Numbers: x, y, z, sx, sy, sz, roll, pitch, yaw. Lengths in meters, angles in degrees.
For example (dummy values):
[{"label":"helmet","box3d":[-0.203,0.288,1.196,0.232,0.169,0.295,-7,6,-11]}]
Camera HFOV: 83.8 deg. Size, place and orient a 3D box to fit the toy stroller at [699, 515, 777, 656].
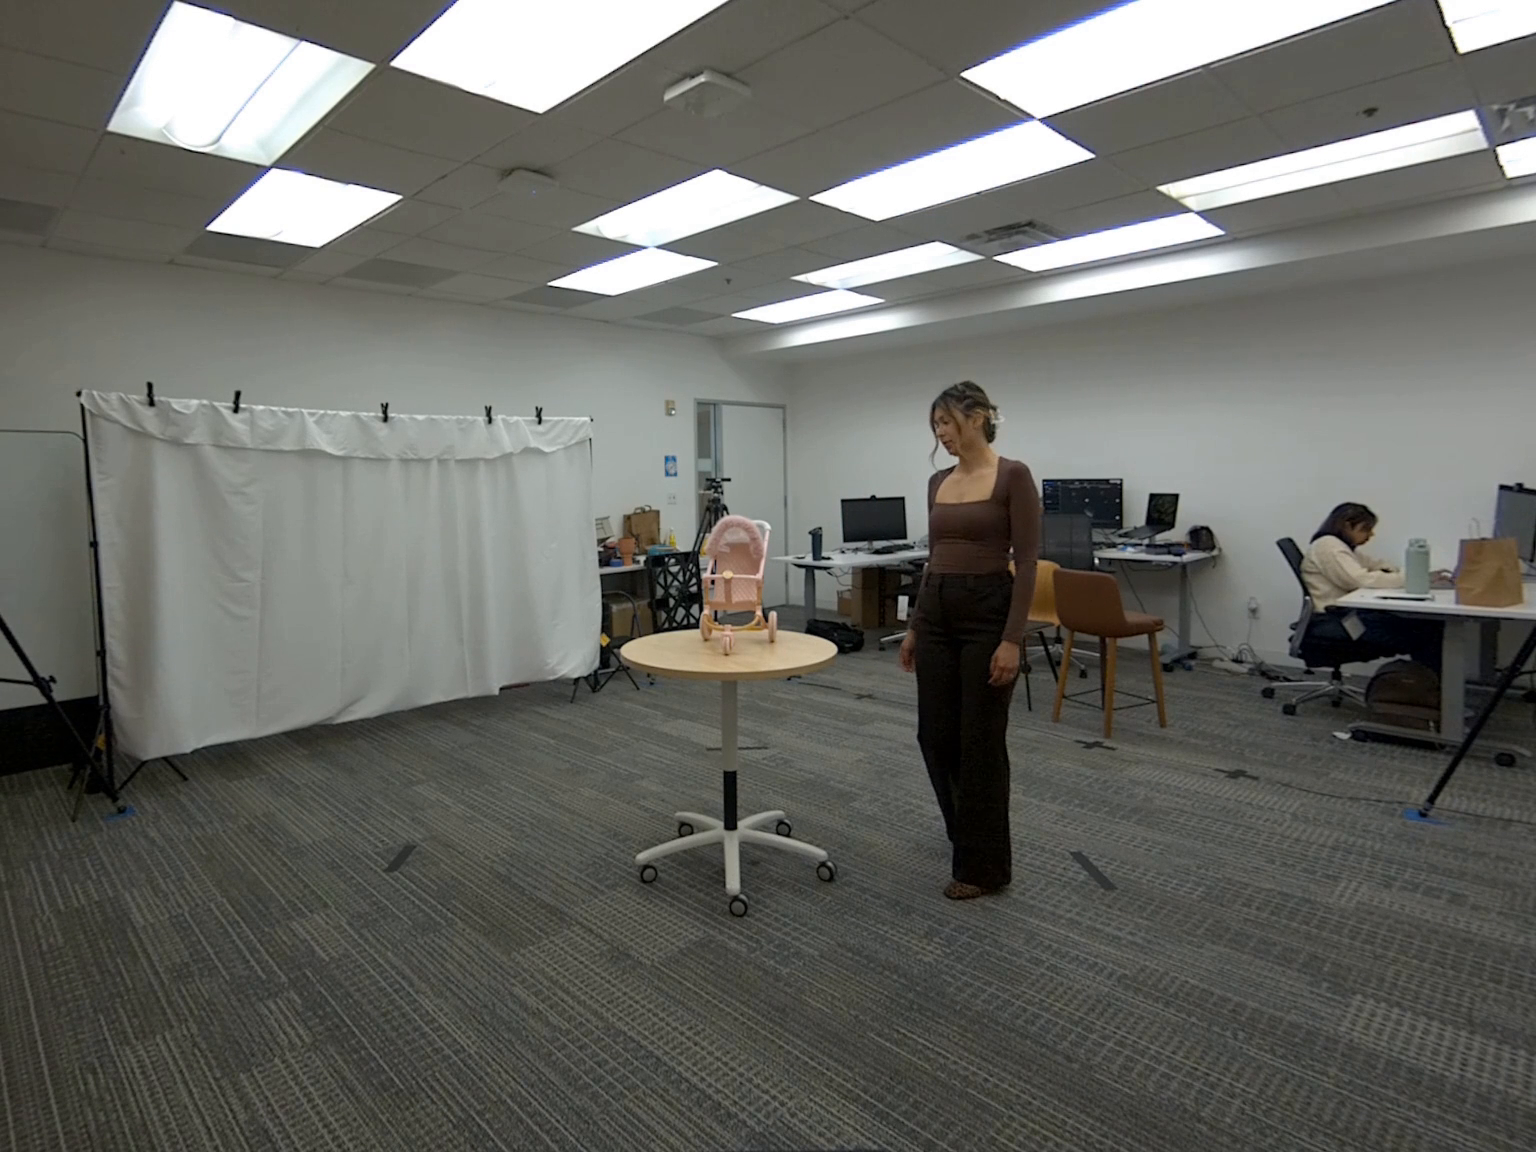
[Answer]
[{"label":"toy stroller","box3d":[-0.113,0.023,3.074,0.285,0.540,0.334,0,-11,12]}]
